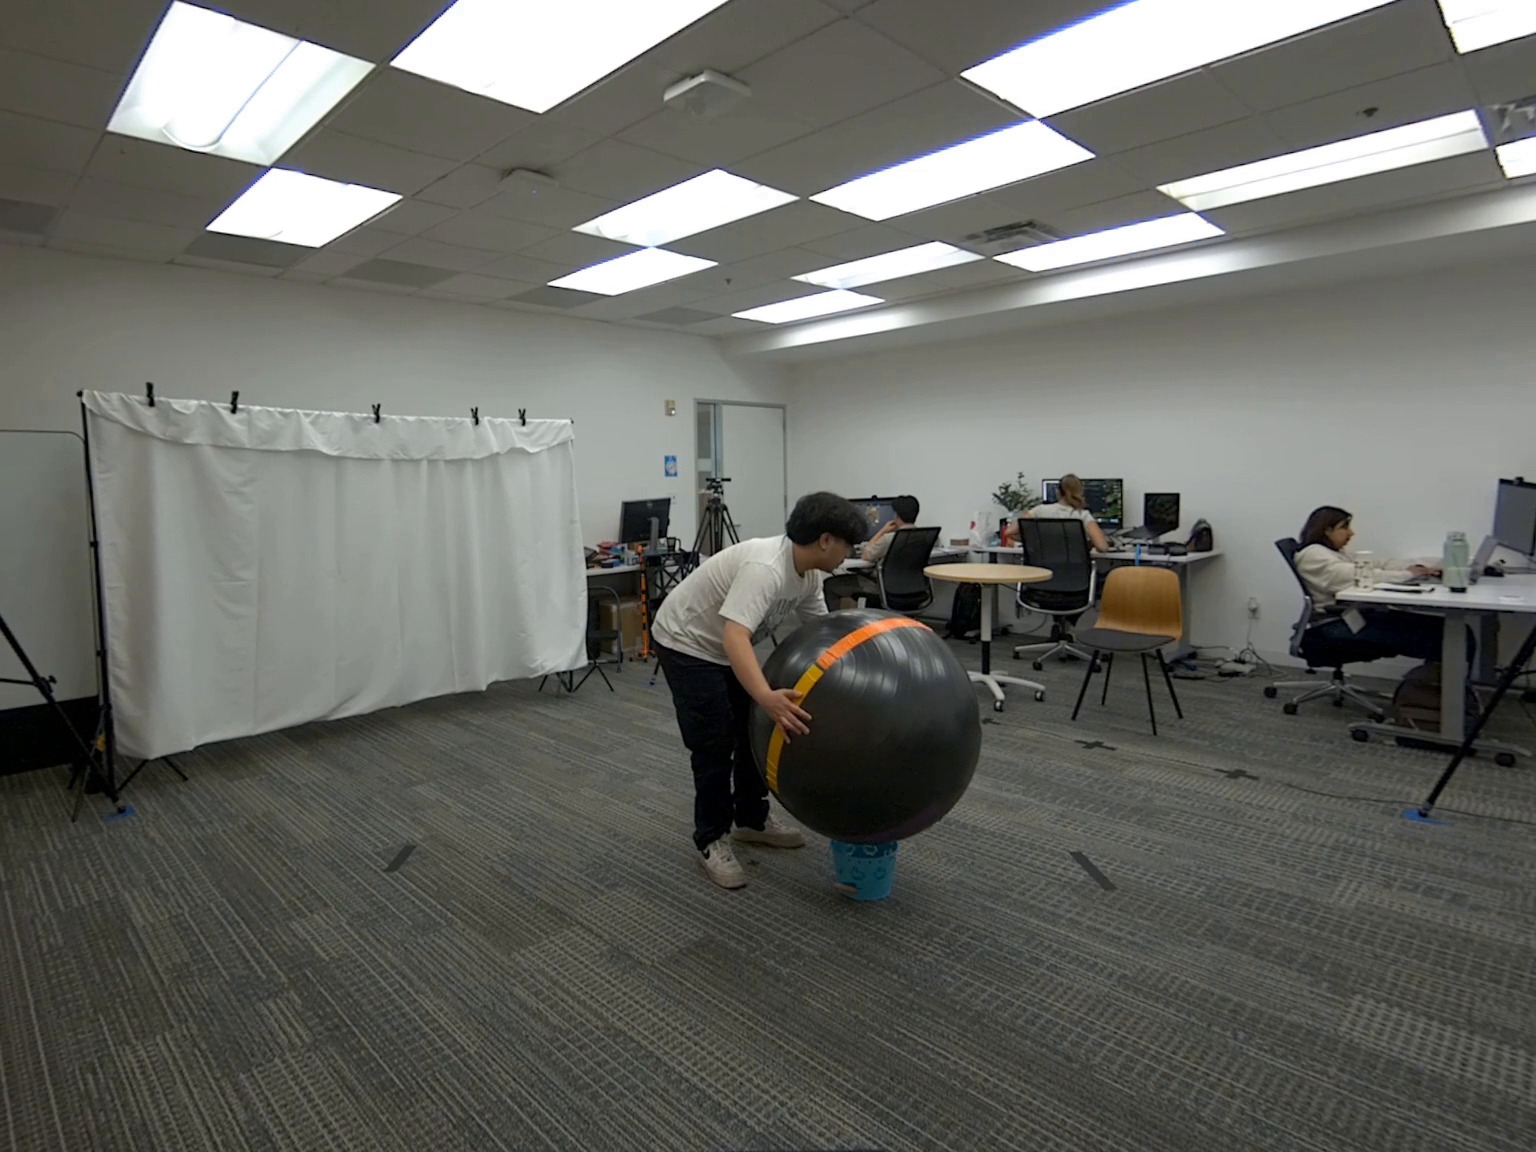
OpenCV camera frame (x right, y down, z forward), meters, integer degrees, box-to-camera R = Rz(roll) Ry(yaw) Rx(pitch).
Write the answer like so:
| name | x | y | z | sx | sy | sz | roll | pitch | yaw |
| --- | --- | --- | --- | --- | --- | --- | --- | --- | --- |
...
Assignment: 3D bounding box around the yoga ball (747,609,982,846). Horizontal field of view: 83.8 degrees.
| name | x | y | z | sx | sy | sz | roll | pitch | yaw |
| --- | --- | --- | --- | --- | --- | --- | --- | --- | --- |
| yoga ball | 0.318 | 0.492 | 2.822 | 0.757 | 0.755 | 0.762 | -1 | 5 | -2 |
